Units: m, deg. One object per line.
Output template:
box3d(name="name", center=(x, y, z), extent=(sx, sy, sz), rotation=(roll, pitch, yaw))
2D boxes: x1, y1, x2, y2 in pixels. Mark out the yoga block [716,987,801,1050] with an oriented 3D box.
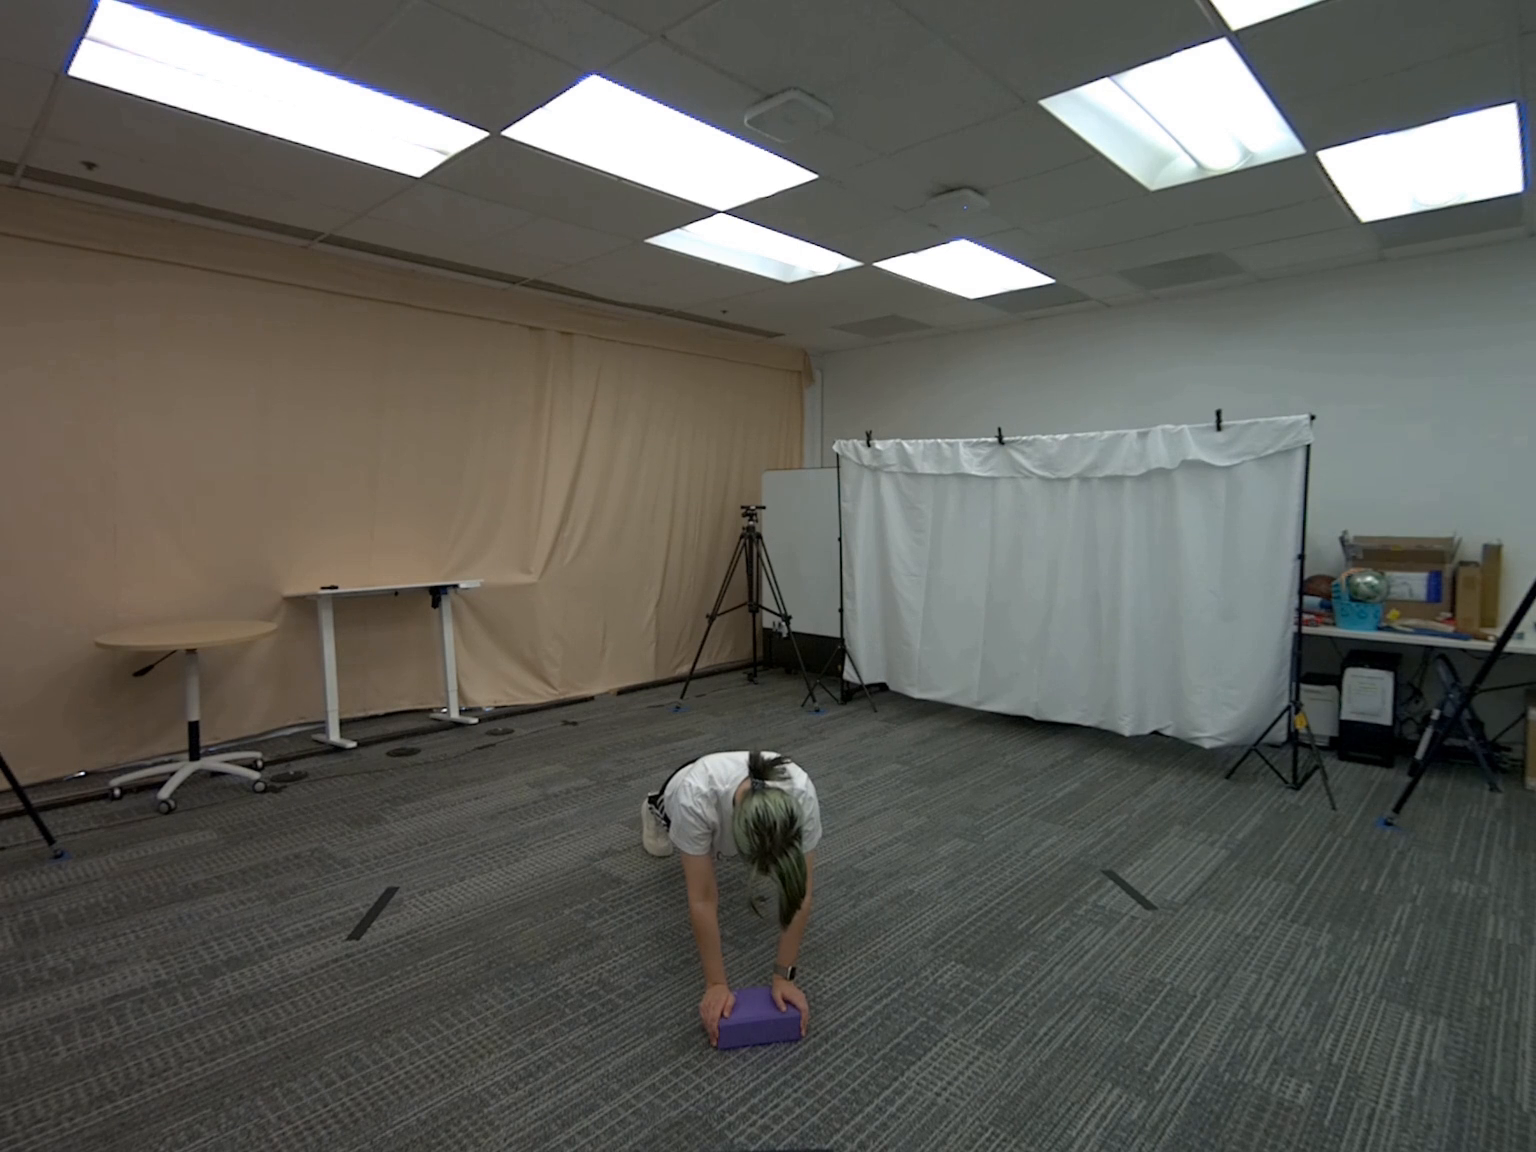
box3d(name="yoga block", center=(-0.040, 1.168, 2.243), extent=(0.227, 0.076, 0.151), rotation=(0, 5, -11))
